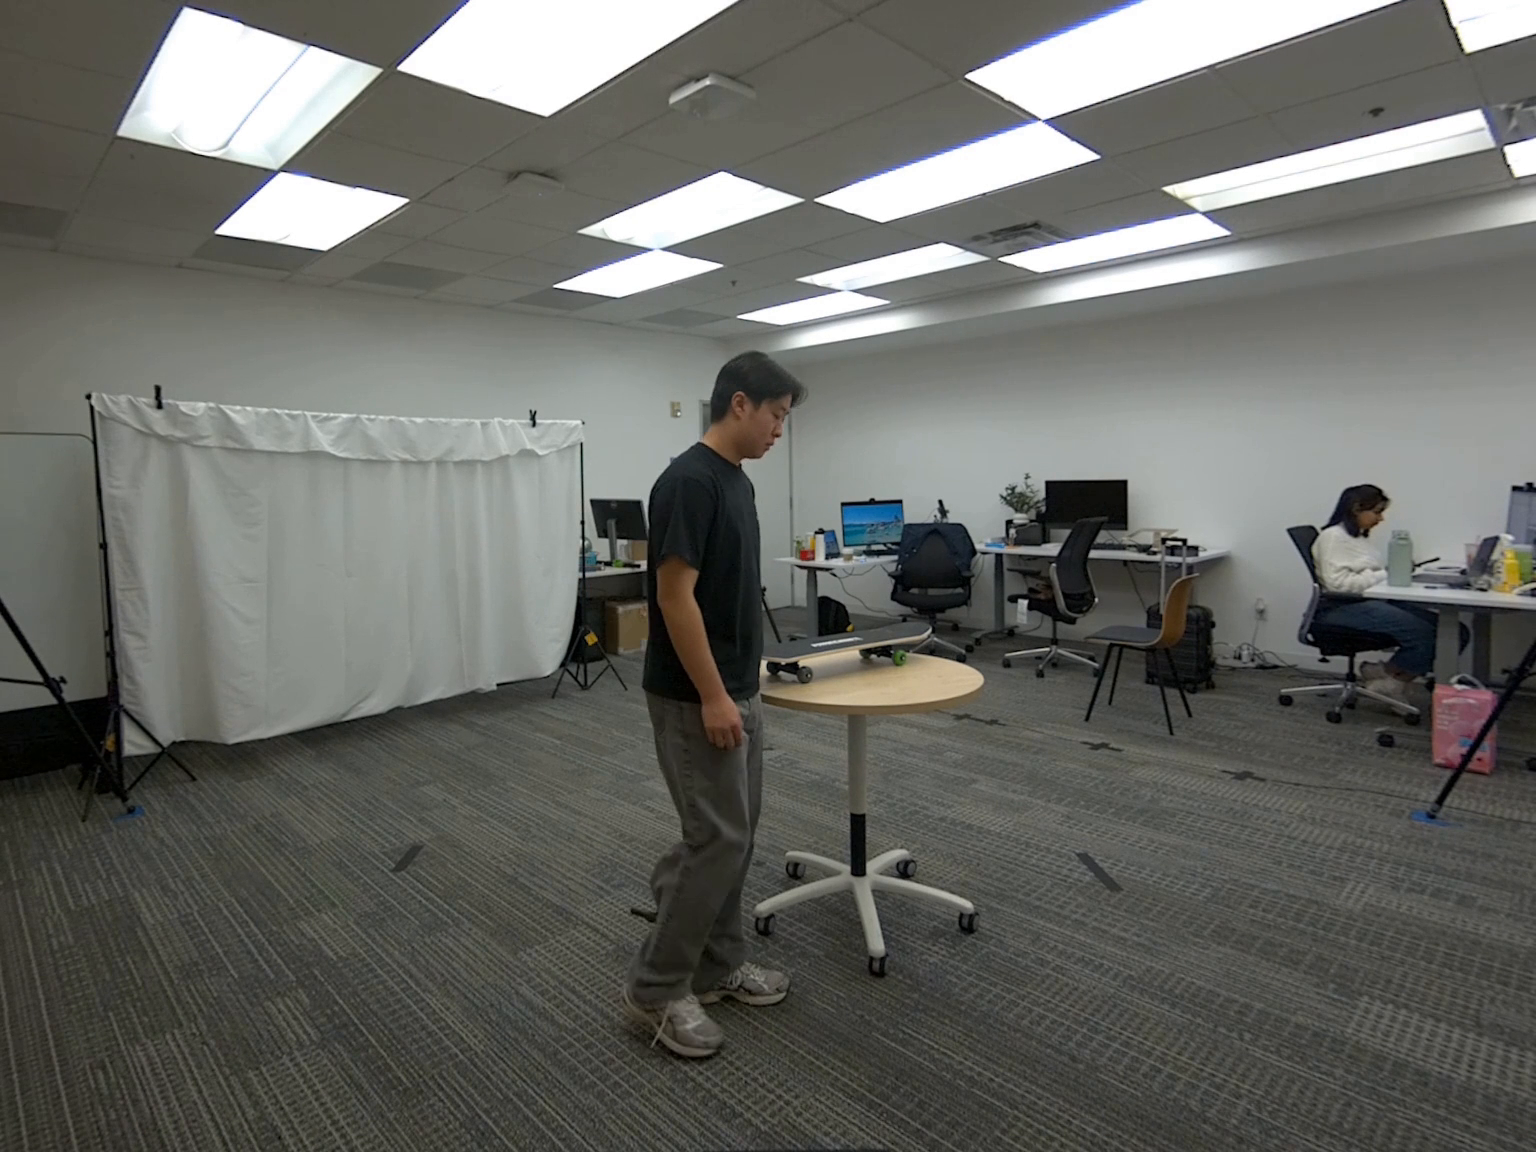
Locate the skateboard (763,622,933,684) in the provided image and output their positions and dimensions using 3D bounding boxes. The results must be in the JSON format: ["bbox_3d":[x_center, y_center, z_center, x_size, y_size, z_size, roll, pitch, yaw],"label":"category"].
[{"bbox_3d":[0.211,0.251,2.742,0.766,0.110,0.199,-6,7,-34],"label":"skateboard"}]
